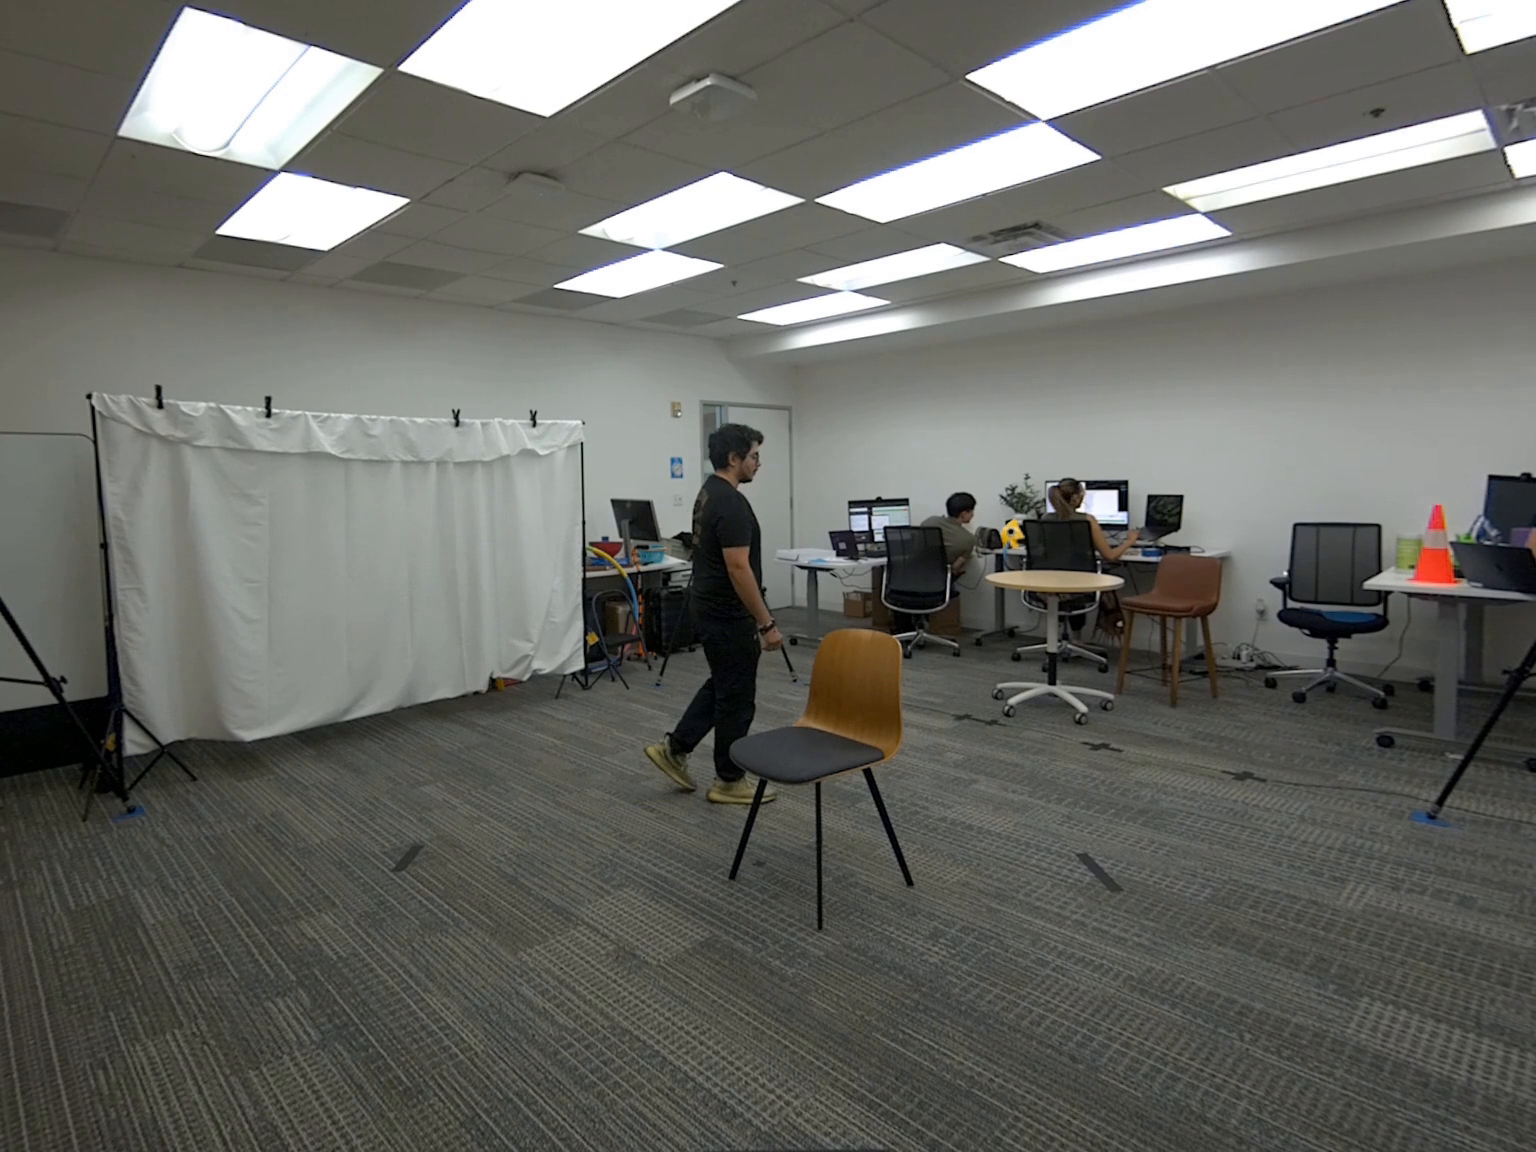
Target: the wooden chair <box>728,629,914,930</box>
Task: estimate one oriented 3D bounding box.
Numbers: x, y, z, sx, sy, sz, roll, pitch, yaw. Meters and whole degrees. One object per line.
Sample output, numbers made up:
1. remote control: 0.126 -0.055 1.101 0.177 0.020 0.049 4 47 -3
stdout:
1. wooden chair: 0.172 0.640 2.917 0.508 0.876 0.493 1 2 -40
